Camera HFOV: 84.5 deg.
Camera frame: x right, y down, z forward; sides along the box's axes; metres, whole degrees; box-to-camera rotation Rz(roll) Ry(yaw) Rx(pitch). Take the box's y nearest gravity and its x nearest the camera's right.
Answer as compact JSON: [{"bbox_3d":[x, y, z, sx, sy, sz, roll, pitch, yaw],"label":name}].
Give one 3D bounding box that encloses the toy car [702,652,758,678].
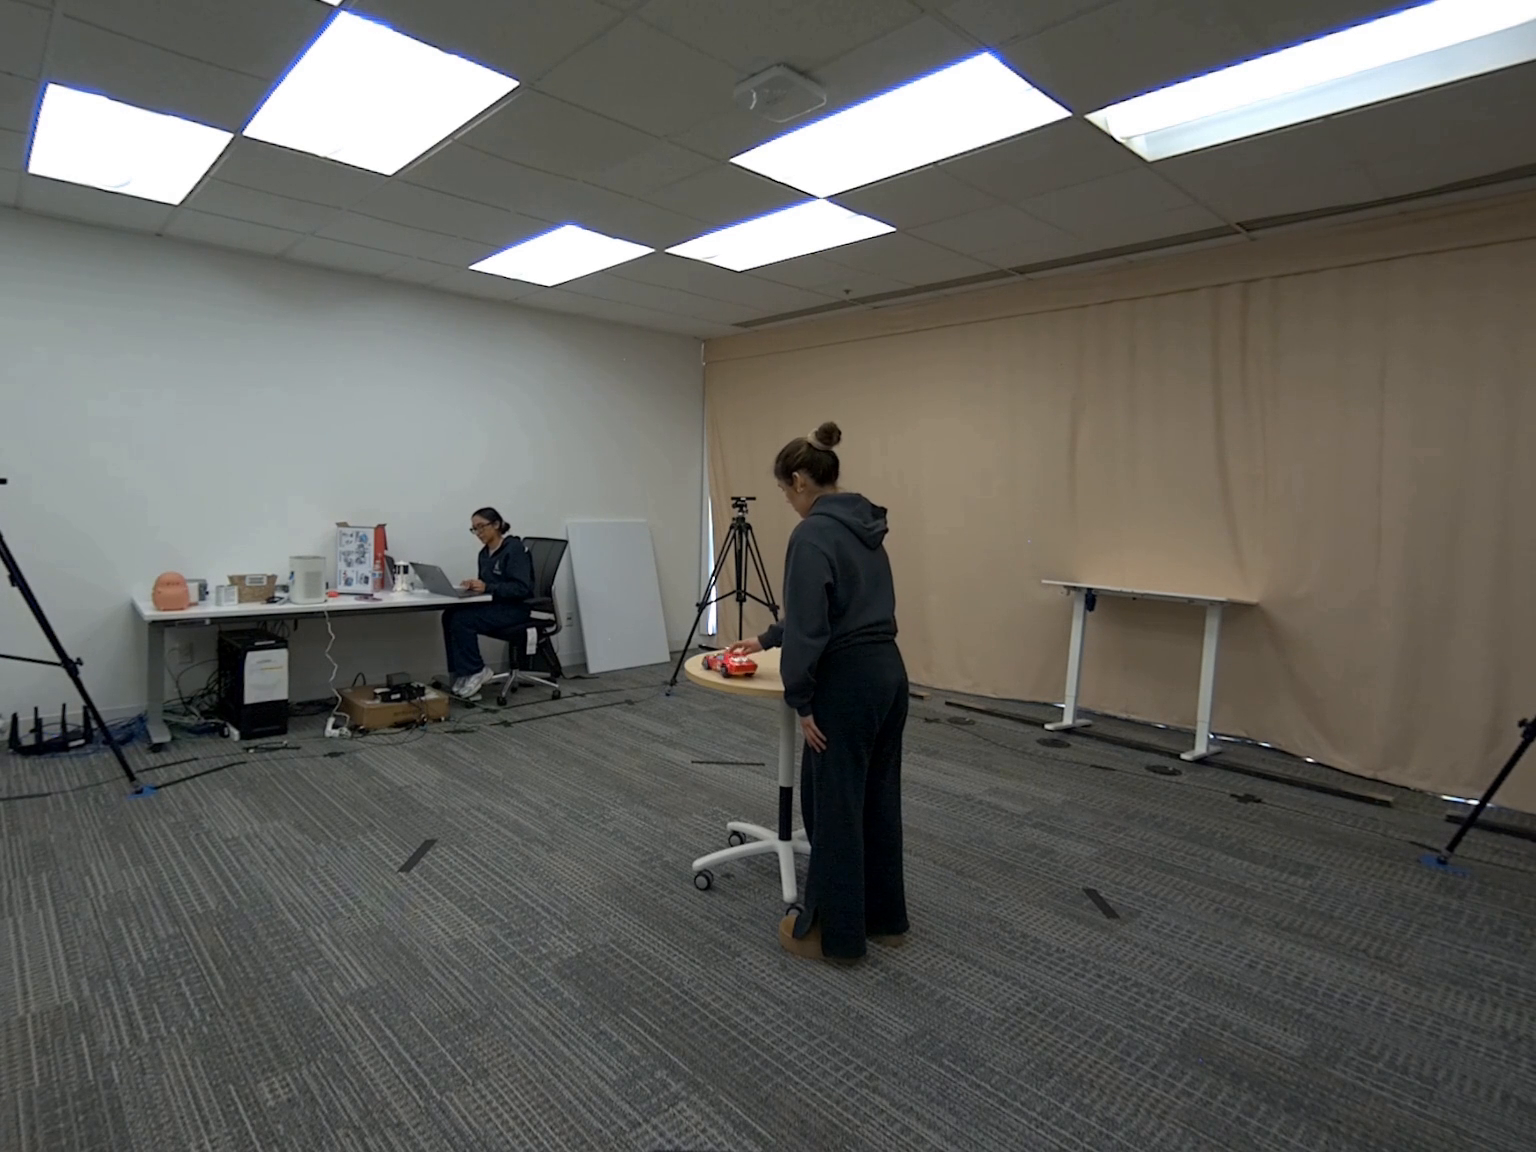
[{"bbox_3d":[-0.133,0.310,2.930,0.128,0.083,0.258,-1,-5,-28],"label":"toy car"}]
